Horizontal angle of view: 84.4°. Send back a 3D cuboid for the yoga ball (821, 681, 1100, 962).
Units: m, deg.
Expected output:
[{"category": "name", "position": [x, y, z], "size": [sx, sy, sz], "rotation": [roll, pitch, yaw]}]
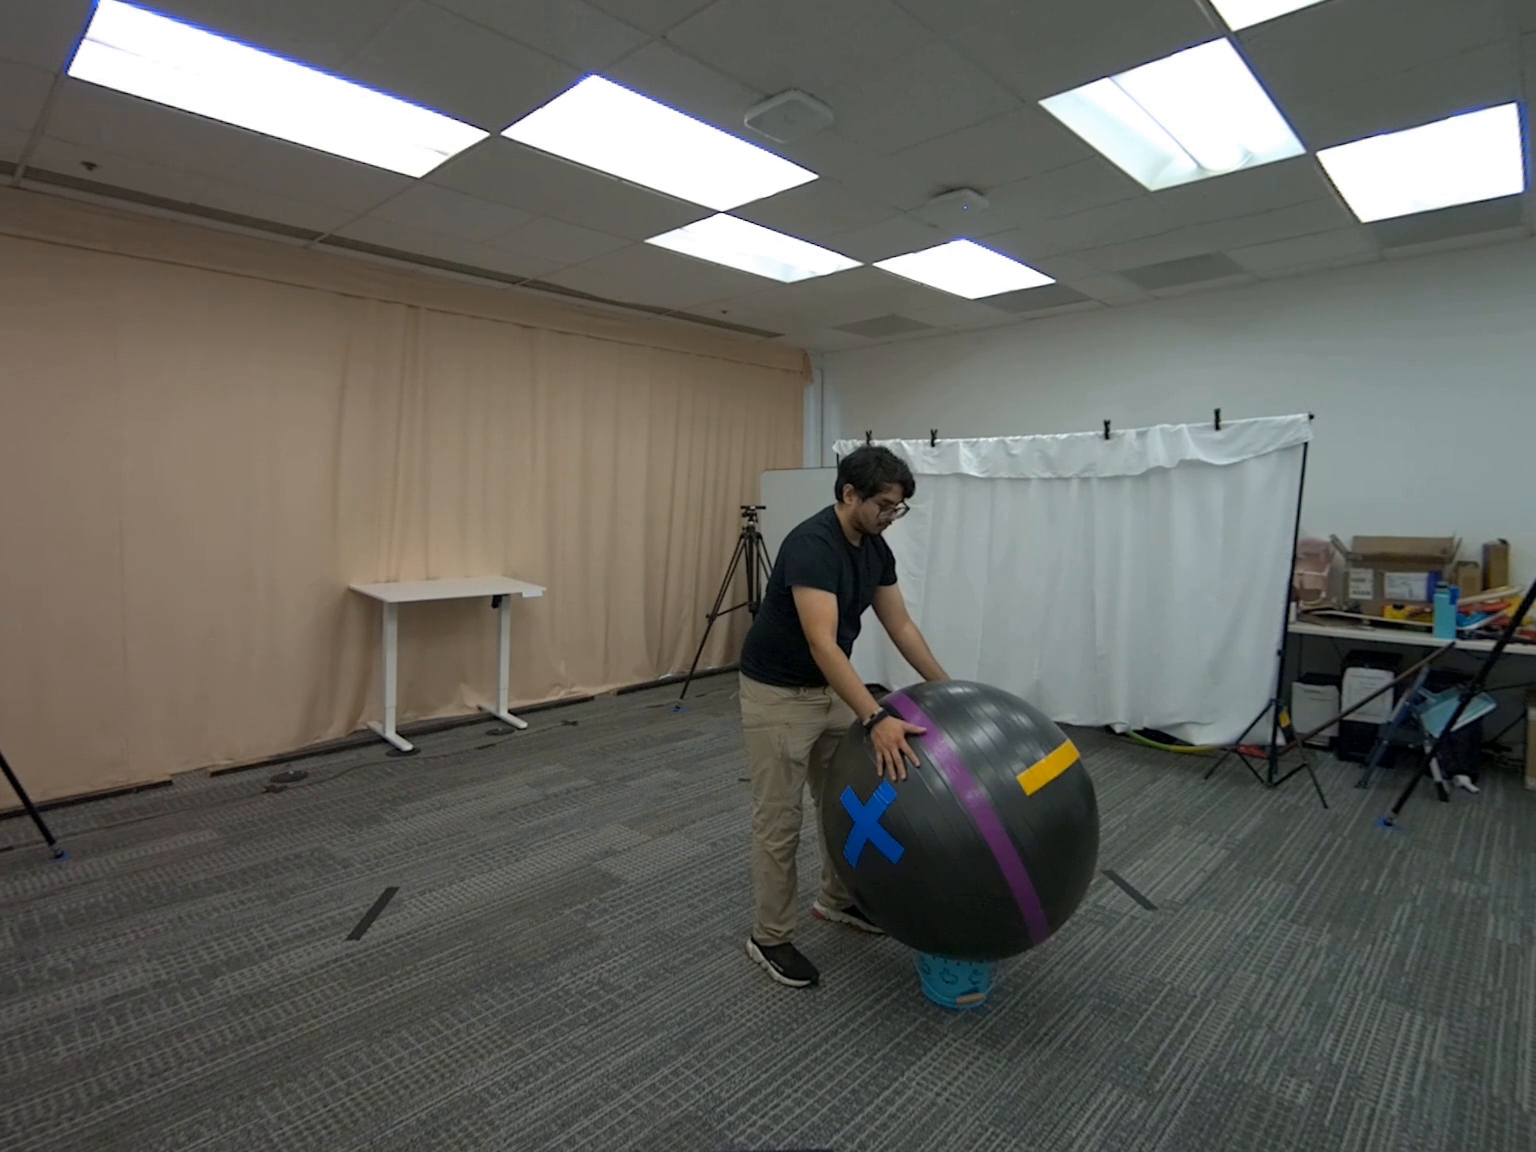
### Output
[{"category": "yoga ball", "position": [0.533, 0.682, 2.397], "size": [0.757, 0.756, 0.760], "rotation": [0, 4, -2]}]
